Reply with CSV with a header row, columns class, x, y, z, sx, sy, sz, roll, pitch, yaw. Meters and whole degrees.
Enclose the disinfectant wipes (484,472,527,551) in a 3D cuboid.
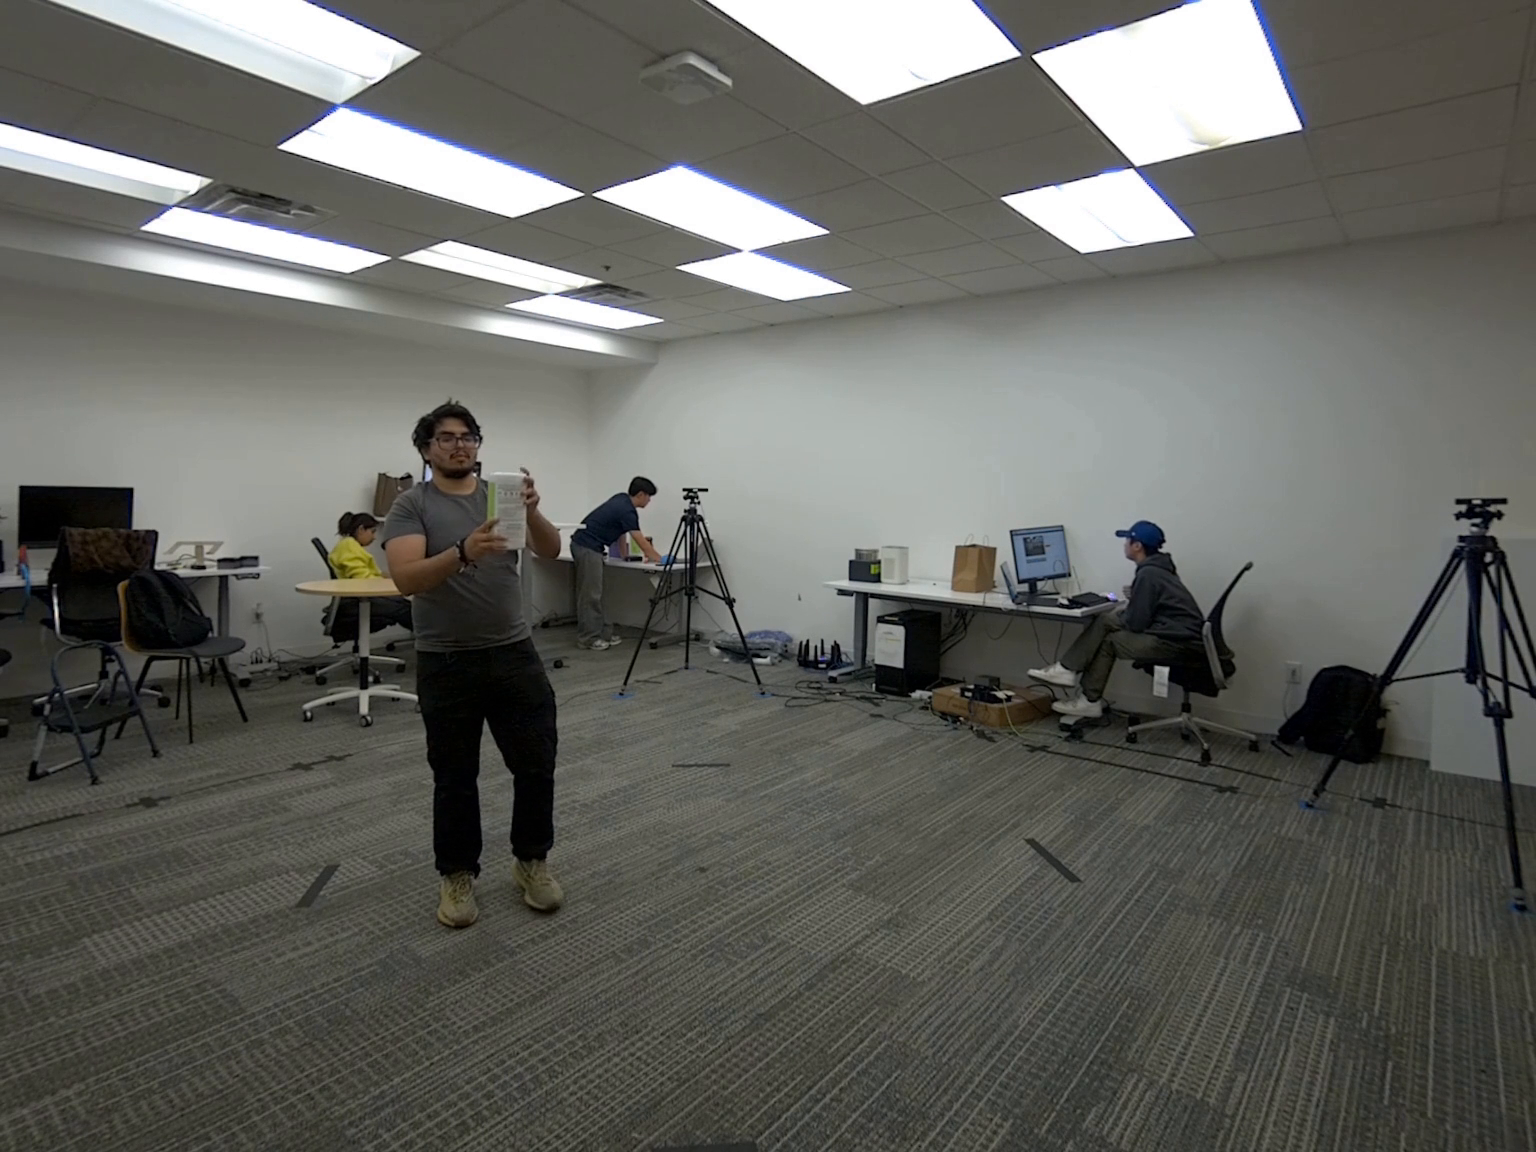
class,x,y,z,sx,sy,sz,roll,pitch,yaw
disinfectant wipes,-0.752,-0.191,2.434,0.117,0.216,0.119,3,8,-2
